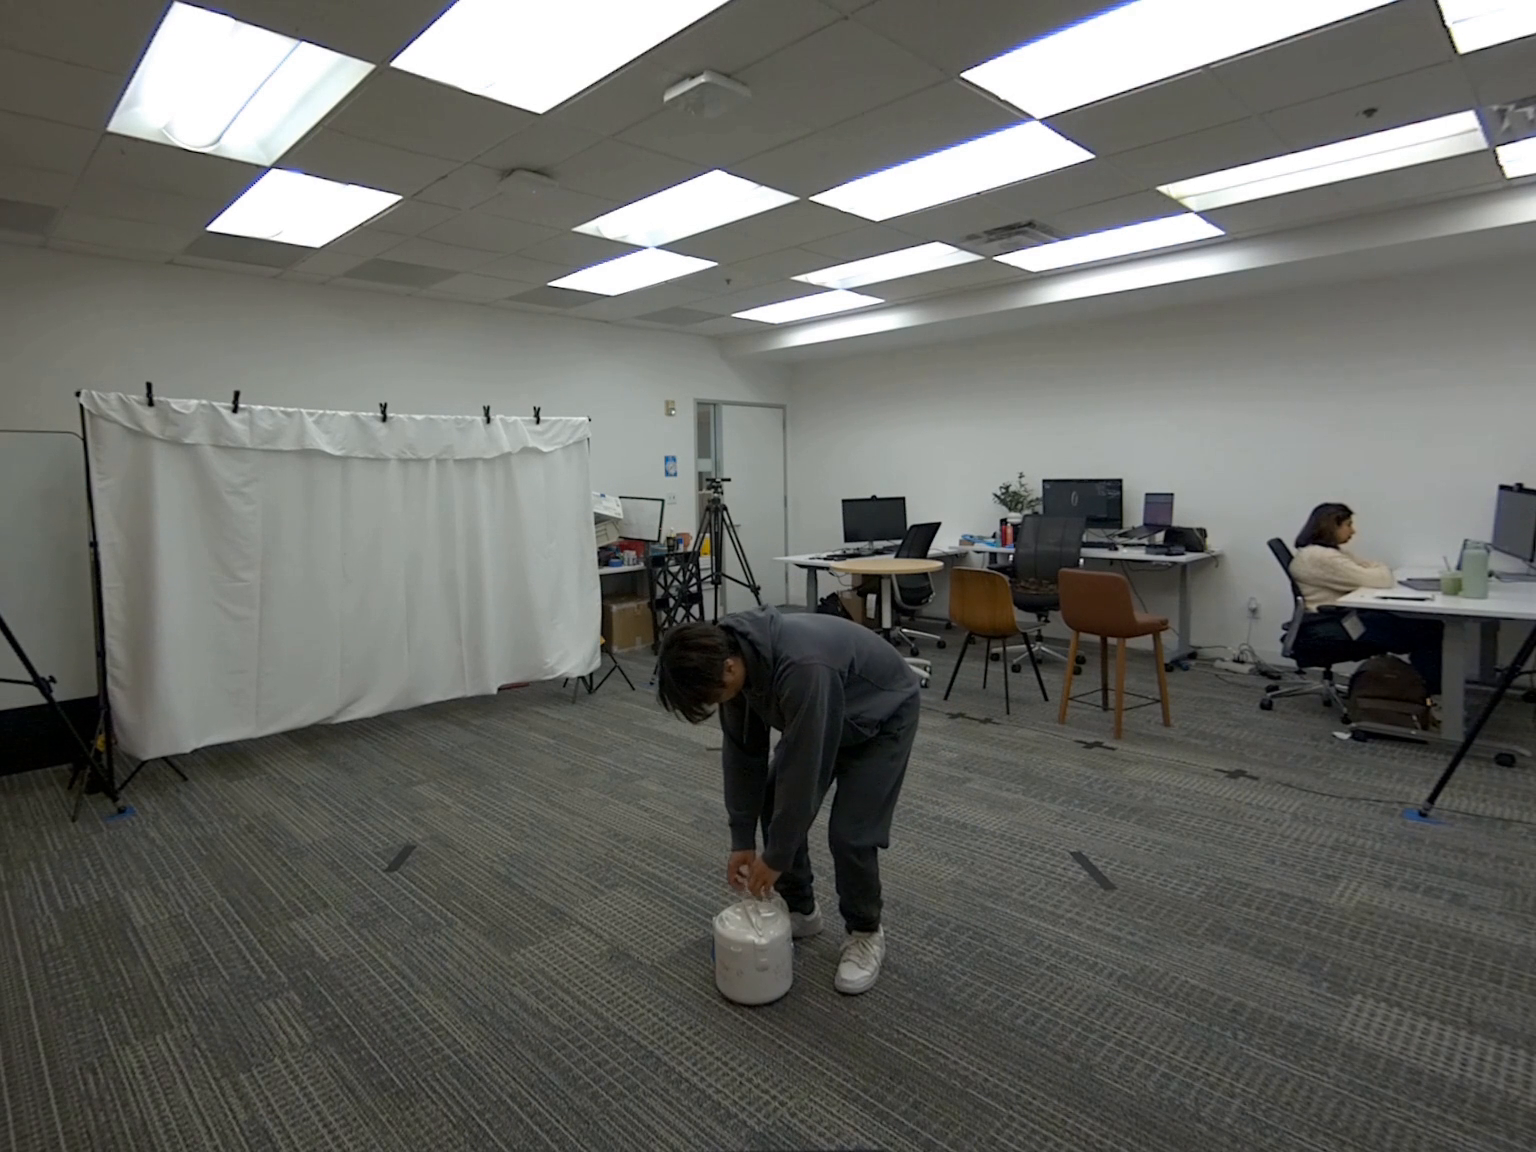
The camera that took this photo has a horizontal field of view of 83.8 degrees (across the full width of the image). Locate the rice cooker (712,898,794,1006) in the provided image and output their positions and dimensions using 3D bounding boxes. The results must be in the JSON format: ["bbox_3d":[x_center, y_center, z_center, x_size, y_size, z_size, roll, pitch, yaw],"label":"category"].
[{"bbox_3d":[-0.029,1.018,2.343,0.215,0.231,0.224,-5,6,-14],"label":"rice cooker"}]
